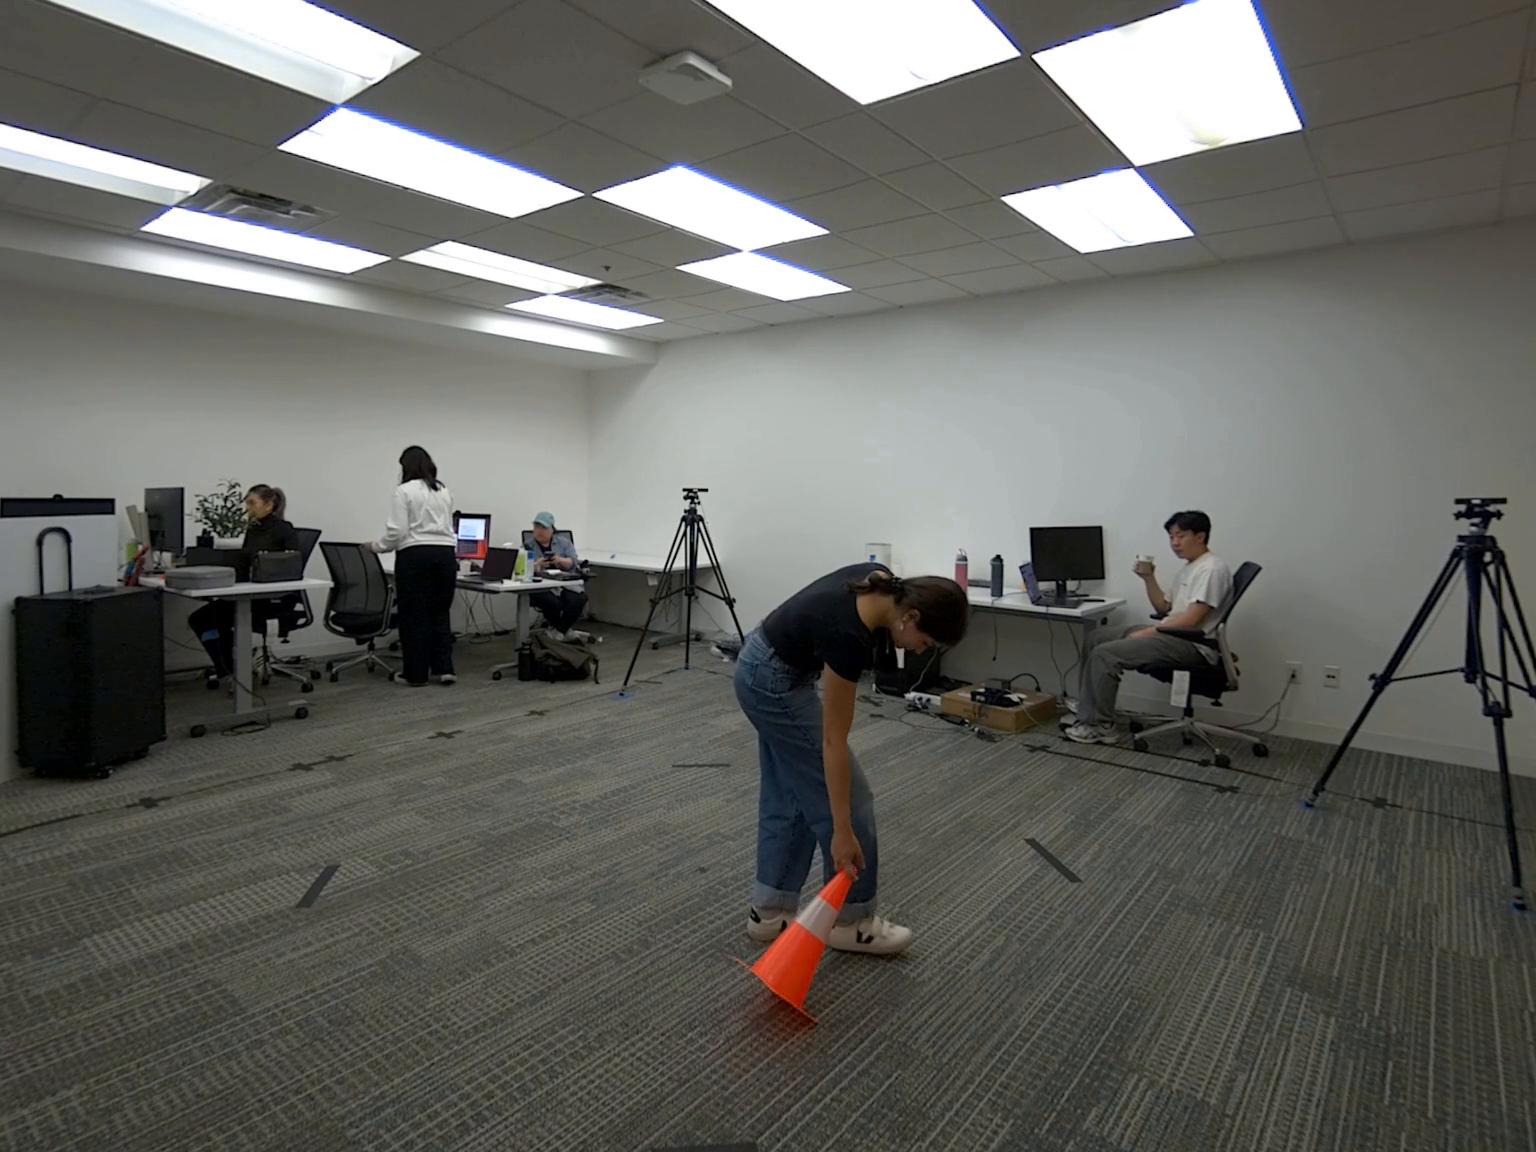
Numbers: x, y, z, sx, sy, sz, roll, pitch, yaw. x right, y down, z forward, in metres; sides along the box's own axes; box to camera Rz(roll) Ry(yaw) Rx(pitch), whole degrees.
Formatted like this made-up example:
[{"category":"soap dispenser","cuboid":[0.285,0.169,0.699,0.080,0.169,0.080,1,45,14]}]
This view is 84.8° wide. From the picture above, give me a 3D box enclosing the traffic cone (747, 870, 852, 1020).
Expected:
[{"category":"traffic cone","cuboid":[0.121,0.947,2.316,0.198,0.384,0.209,47,-22,-26]}]
